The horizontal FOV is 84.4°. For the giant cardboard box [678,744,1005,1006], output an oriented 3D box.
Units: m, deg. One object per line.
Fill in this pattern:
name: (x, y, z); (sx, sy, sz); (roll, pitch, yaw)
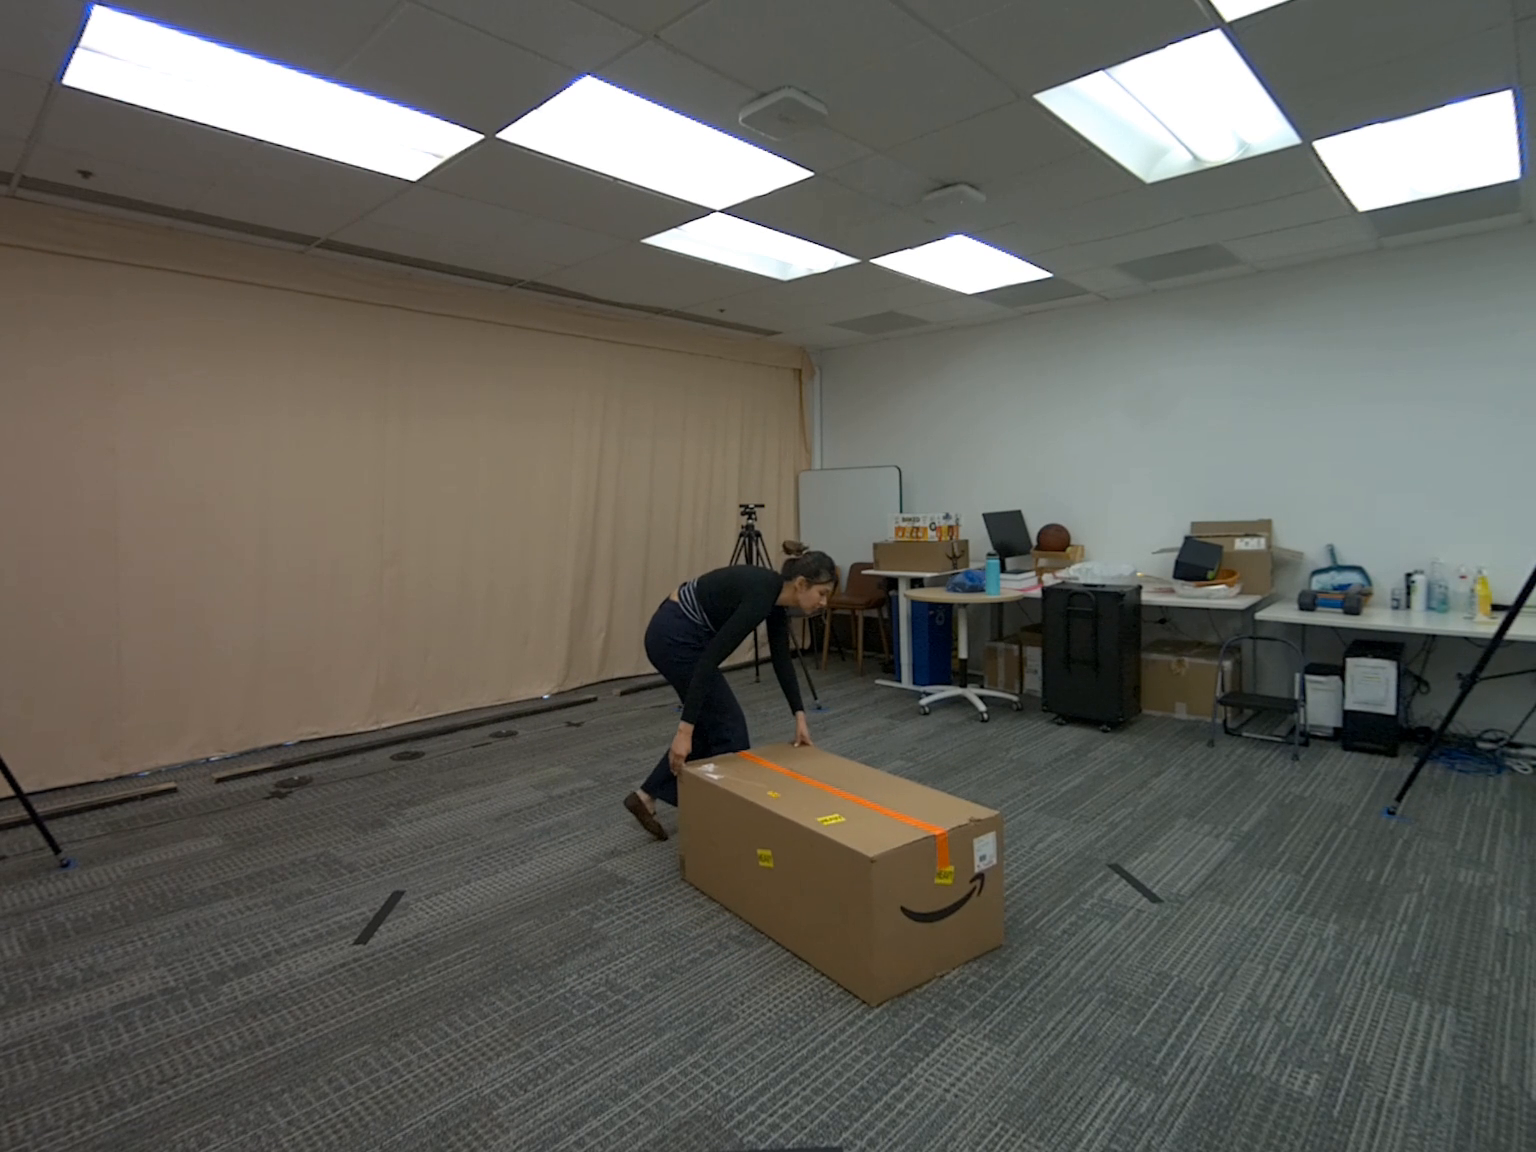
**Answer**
giant cardboard box: (0.206, 0.928, 2.882); (0.561, 0.425, 1.058); (-4, 6, -36)
